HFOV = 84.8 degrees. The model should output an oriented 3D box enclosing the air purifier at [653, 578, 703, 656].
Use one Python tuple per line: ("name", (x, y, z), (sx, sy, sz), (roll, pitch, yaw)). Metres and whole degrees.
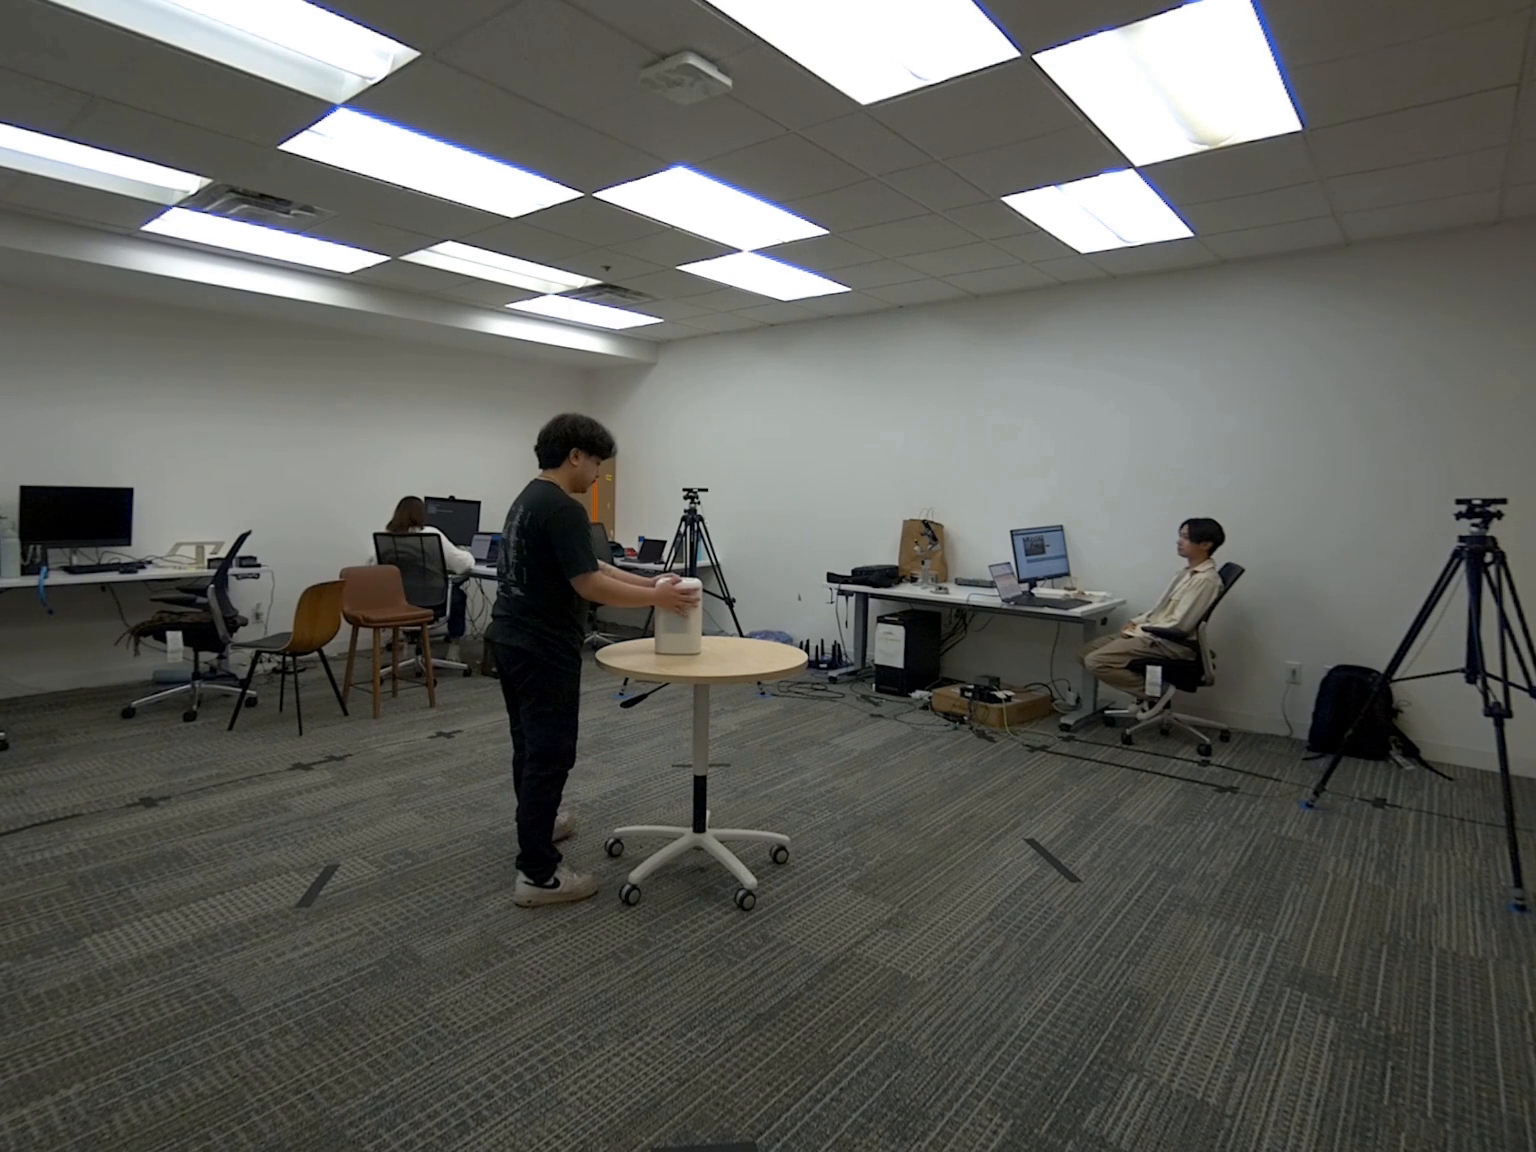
("air purifier", (-0.344, 0.147, 3.118), (0.172, 0.265, 0.171), (1, 1, 1))
